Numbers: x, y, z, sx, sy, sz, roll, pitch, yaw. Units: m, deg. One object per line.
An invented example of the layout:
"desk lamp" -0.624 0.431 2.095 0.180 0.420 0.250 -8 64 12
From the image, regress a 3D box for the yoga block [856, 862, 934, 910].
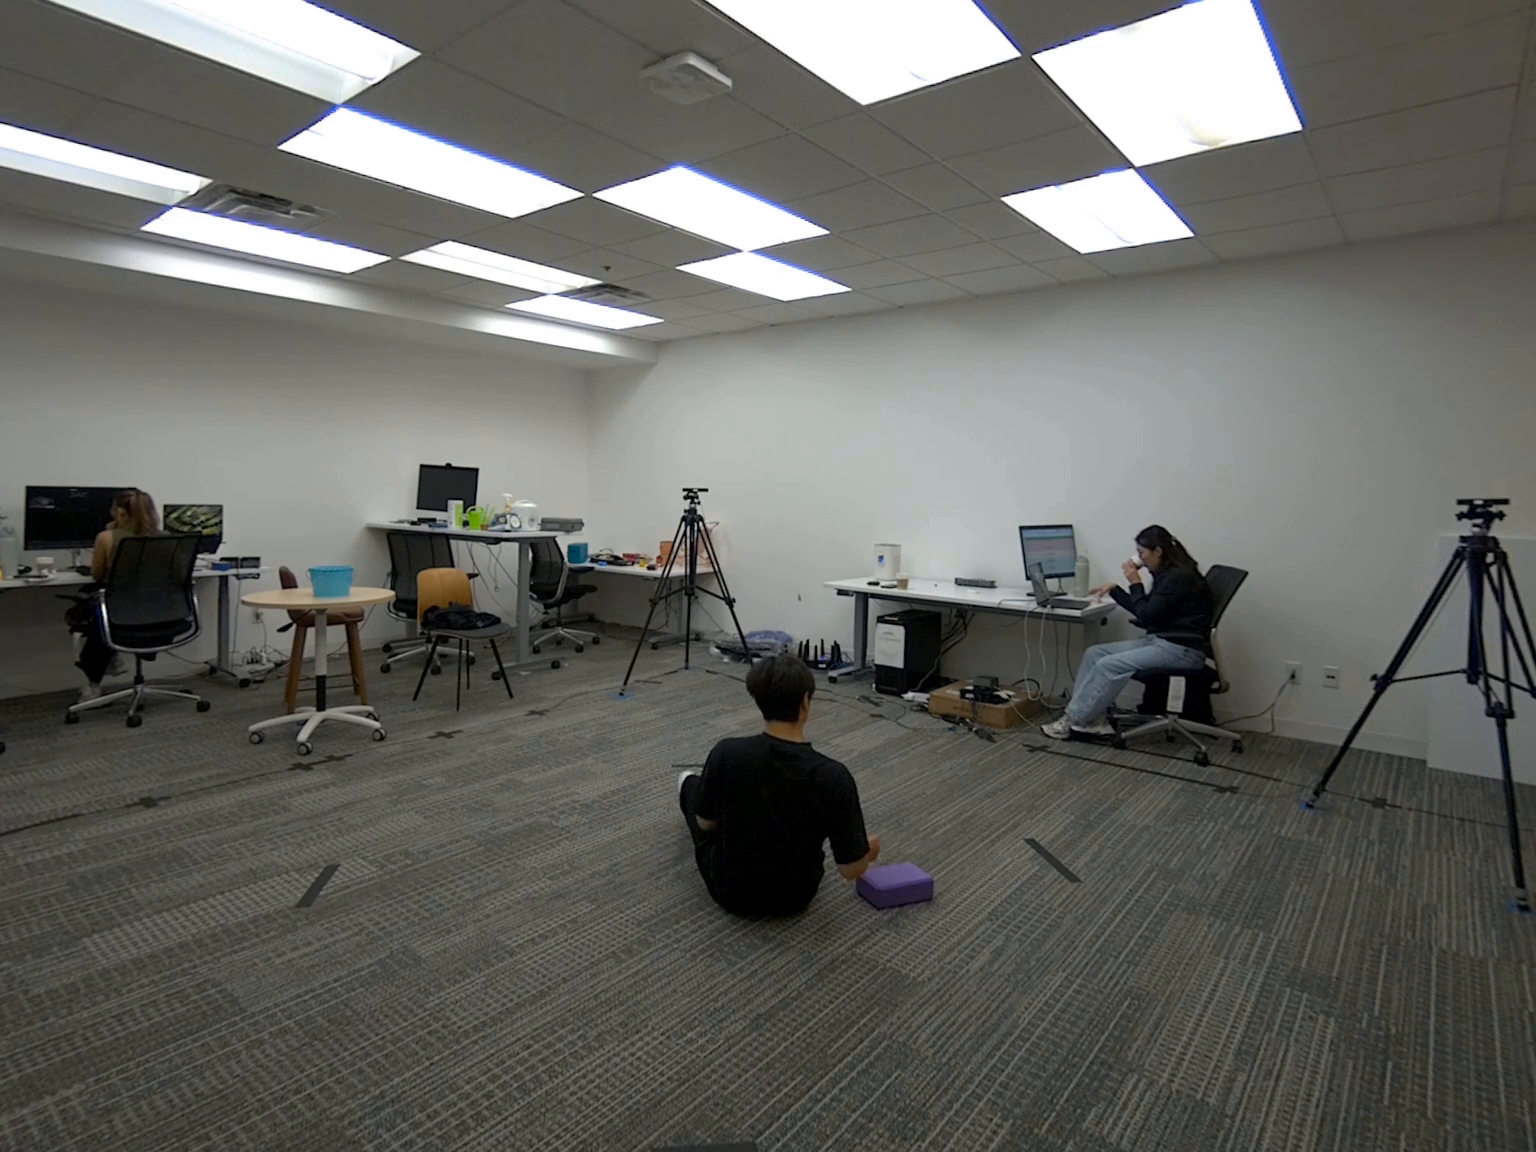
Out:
"yoga block" 0.431 1.066 2.932 0.224 0.076 0.153 -1 6 -23
